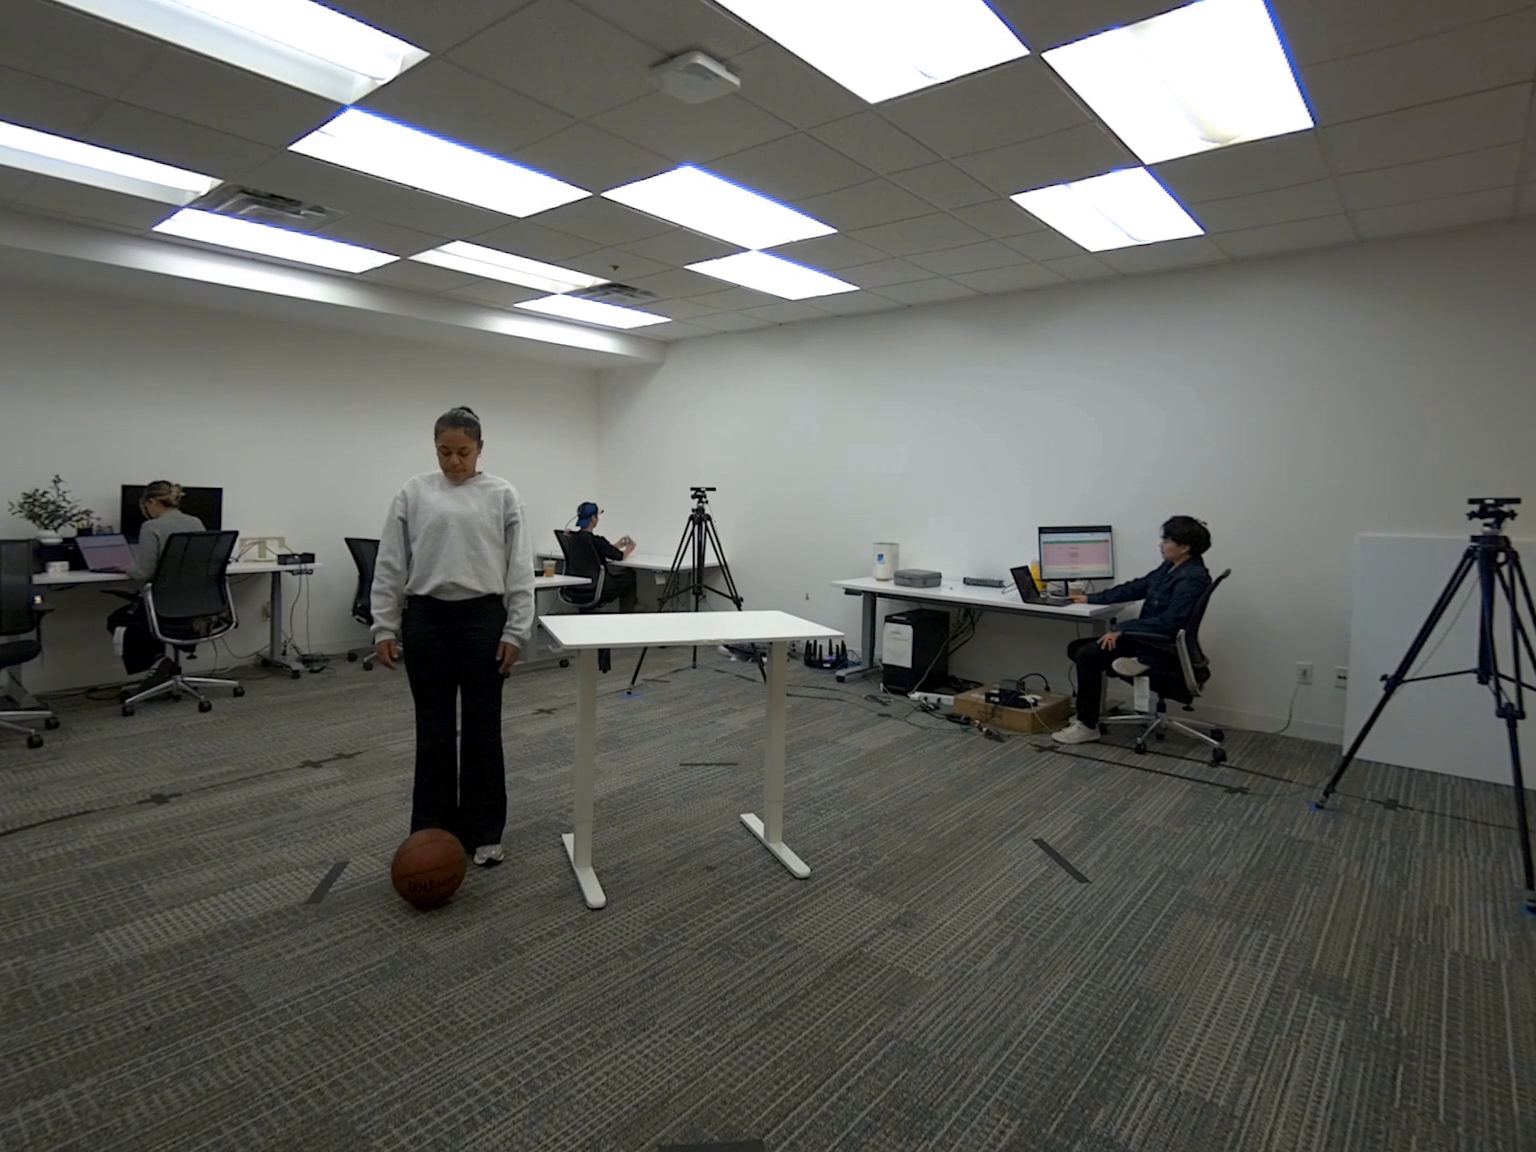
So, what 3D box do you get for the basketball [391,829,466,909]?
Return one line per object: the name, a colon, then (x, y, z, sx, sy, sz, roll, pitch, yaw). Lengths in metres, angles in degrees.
basketball: (-1.136, 0.962, 2.816, 0.235, 0.235, 0.237, 1, 4, -2)
